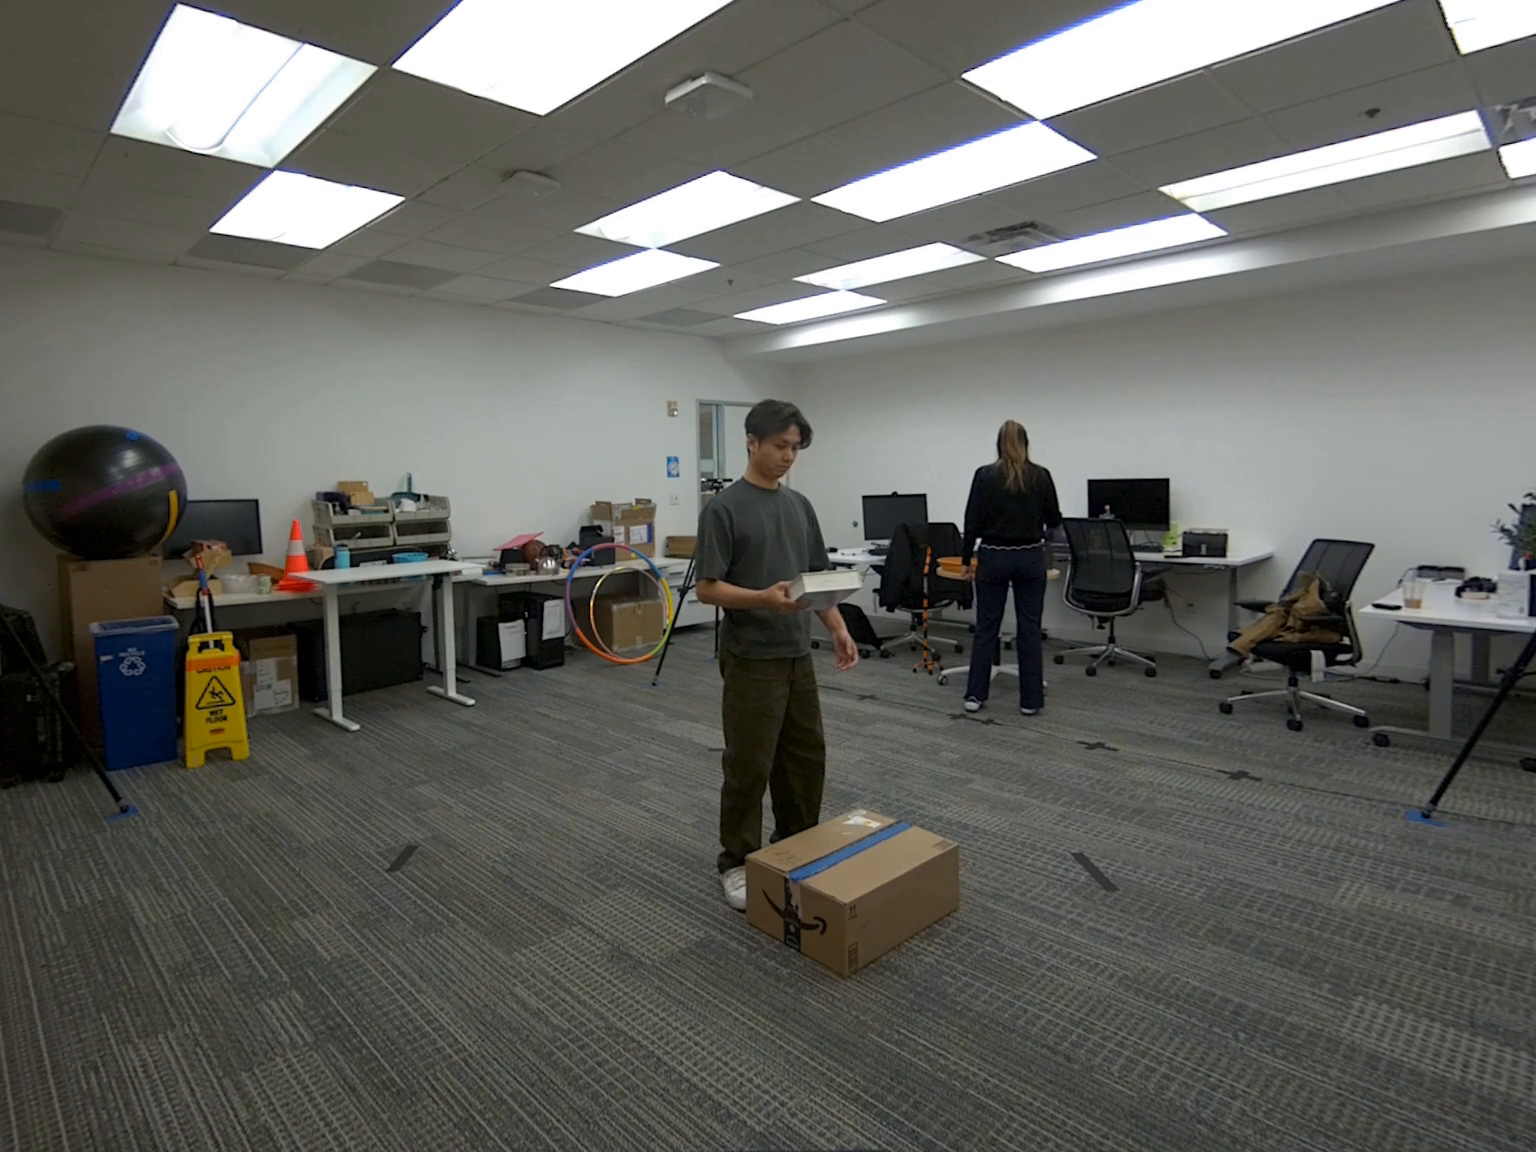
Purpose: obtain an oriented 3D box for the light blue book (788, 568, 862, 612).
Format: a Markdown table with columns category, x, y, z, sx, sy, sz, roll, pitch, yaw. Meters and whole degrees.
| category | x | y | z | sx | sy | sz | roll | pitch | yaw |
| --- | --- | --- | --- | --- | --- | --- | --- | --- | --- |
| light blue book | 0.145 | 0.052 | 2.654 | 0.189 | 0.060 | 0.260 | -6 | -14 | -14 |
